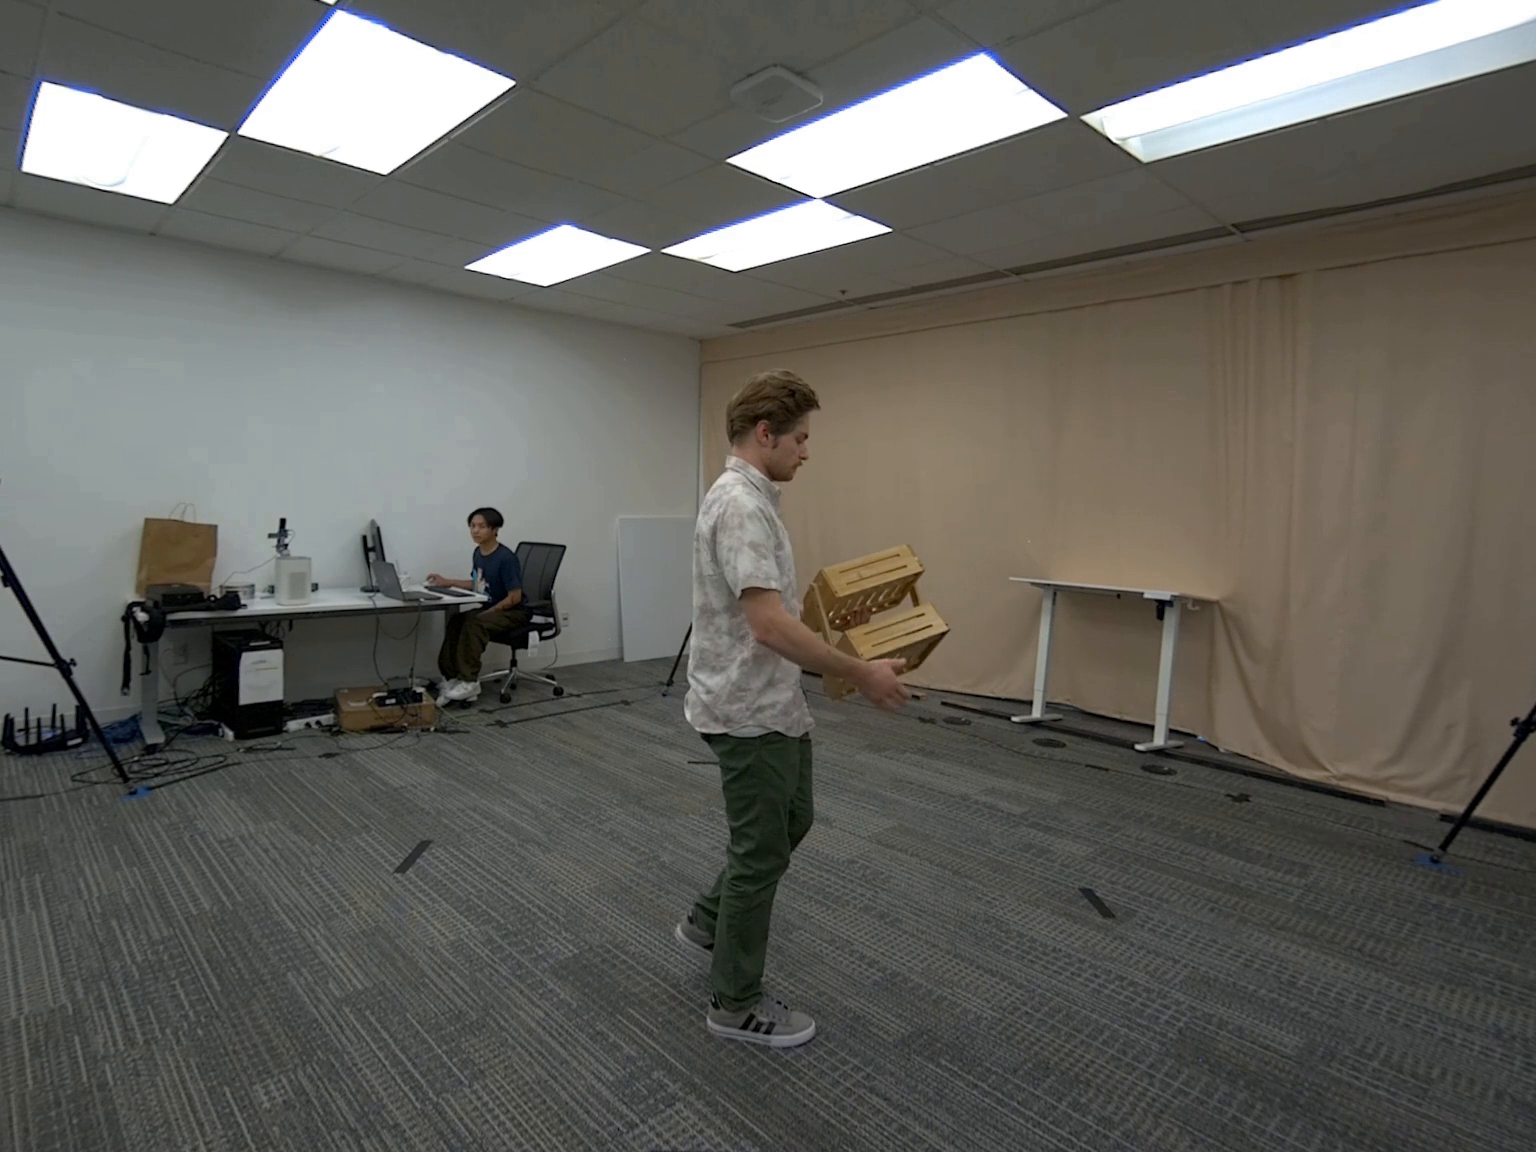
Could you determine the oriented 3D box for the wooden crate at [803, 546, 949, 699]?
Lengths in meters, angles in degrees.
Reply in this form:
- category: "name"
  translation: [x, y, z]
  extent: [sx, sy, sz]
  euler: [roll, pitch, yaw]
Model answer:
- category: "wooden crate"
  translation: [0.275, 0.129, 2.342]
  extent: [0.320, 0.280, 0.299]
  euler: [-15, -29, -27]
